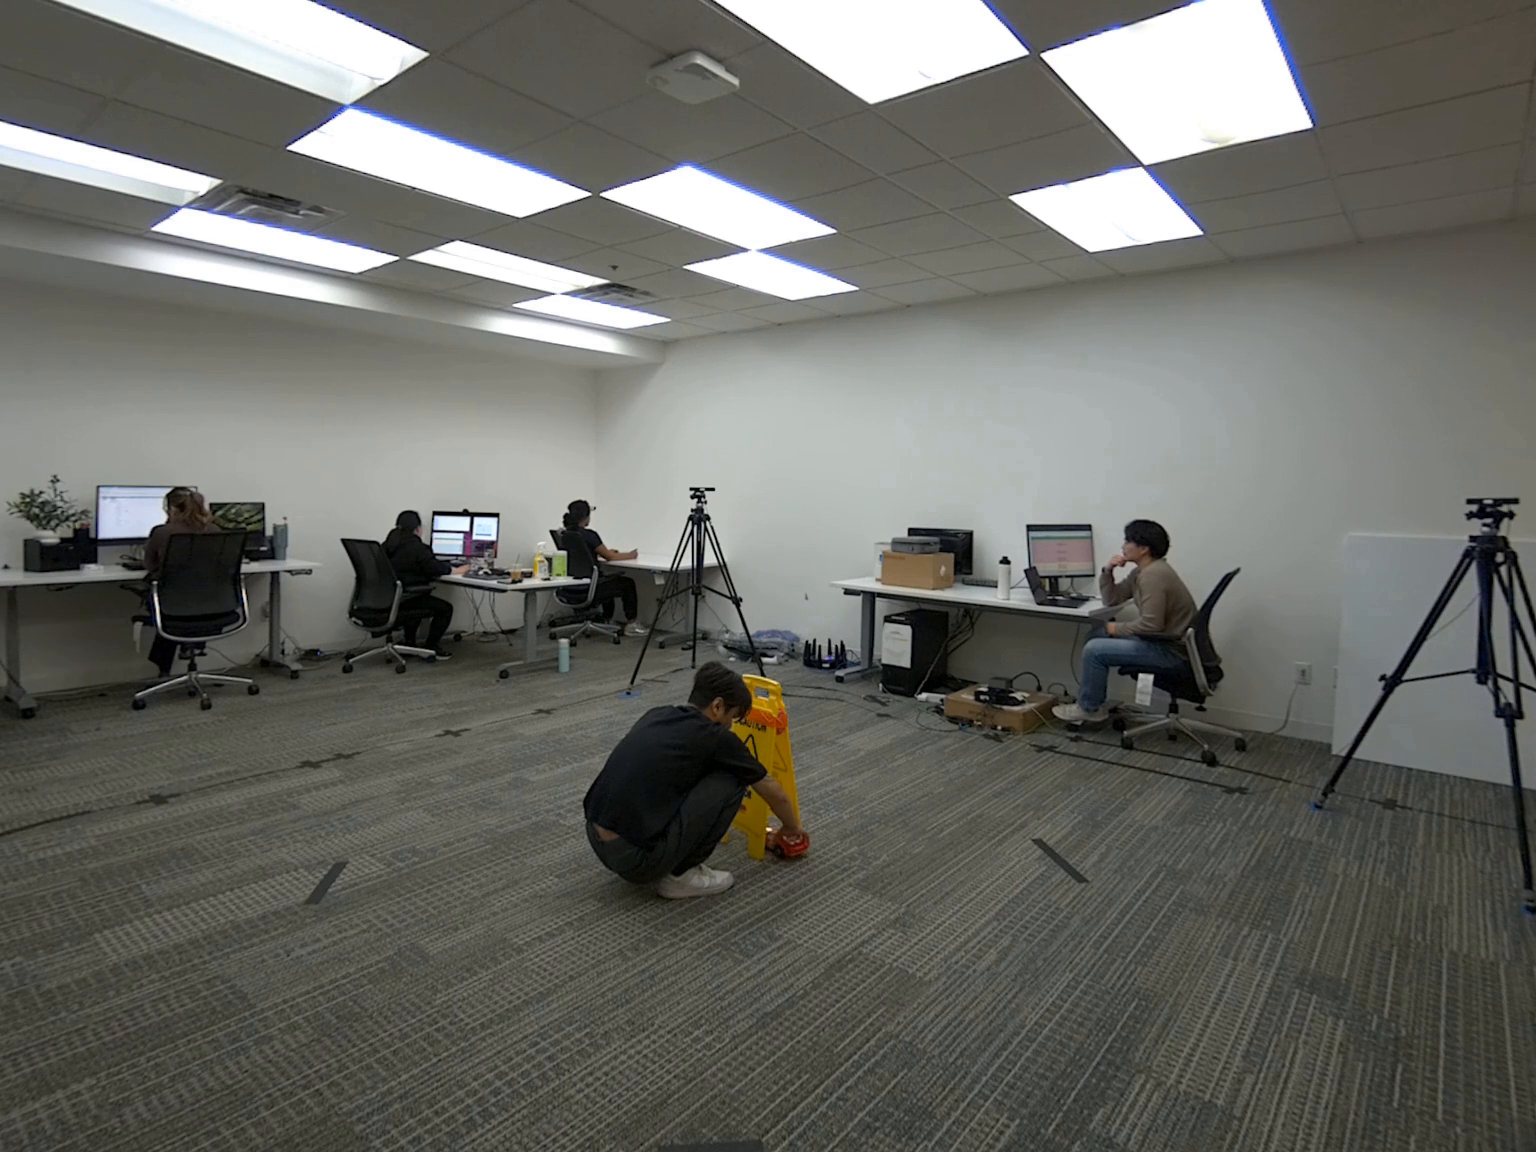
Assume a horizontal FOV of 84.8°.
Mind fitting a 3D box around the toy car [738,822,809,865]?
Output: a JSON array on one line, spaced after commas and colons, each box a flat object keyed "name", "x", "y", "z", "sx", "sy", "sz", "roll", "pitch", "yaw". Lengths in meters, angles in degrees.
[{"name": "toy car", "x": 0.015, "y": 1.034, "z": 3.262, "sx": 0.126, "sy": 0.083, "sz": 0.261, "roll": -3, "pitch": -2, "yaw": -39}]
